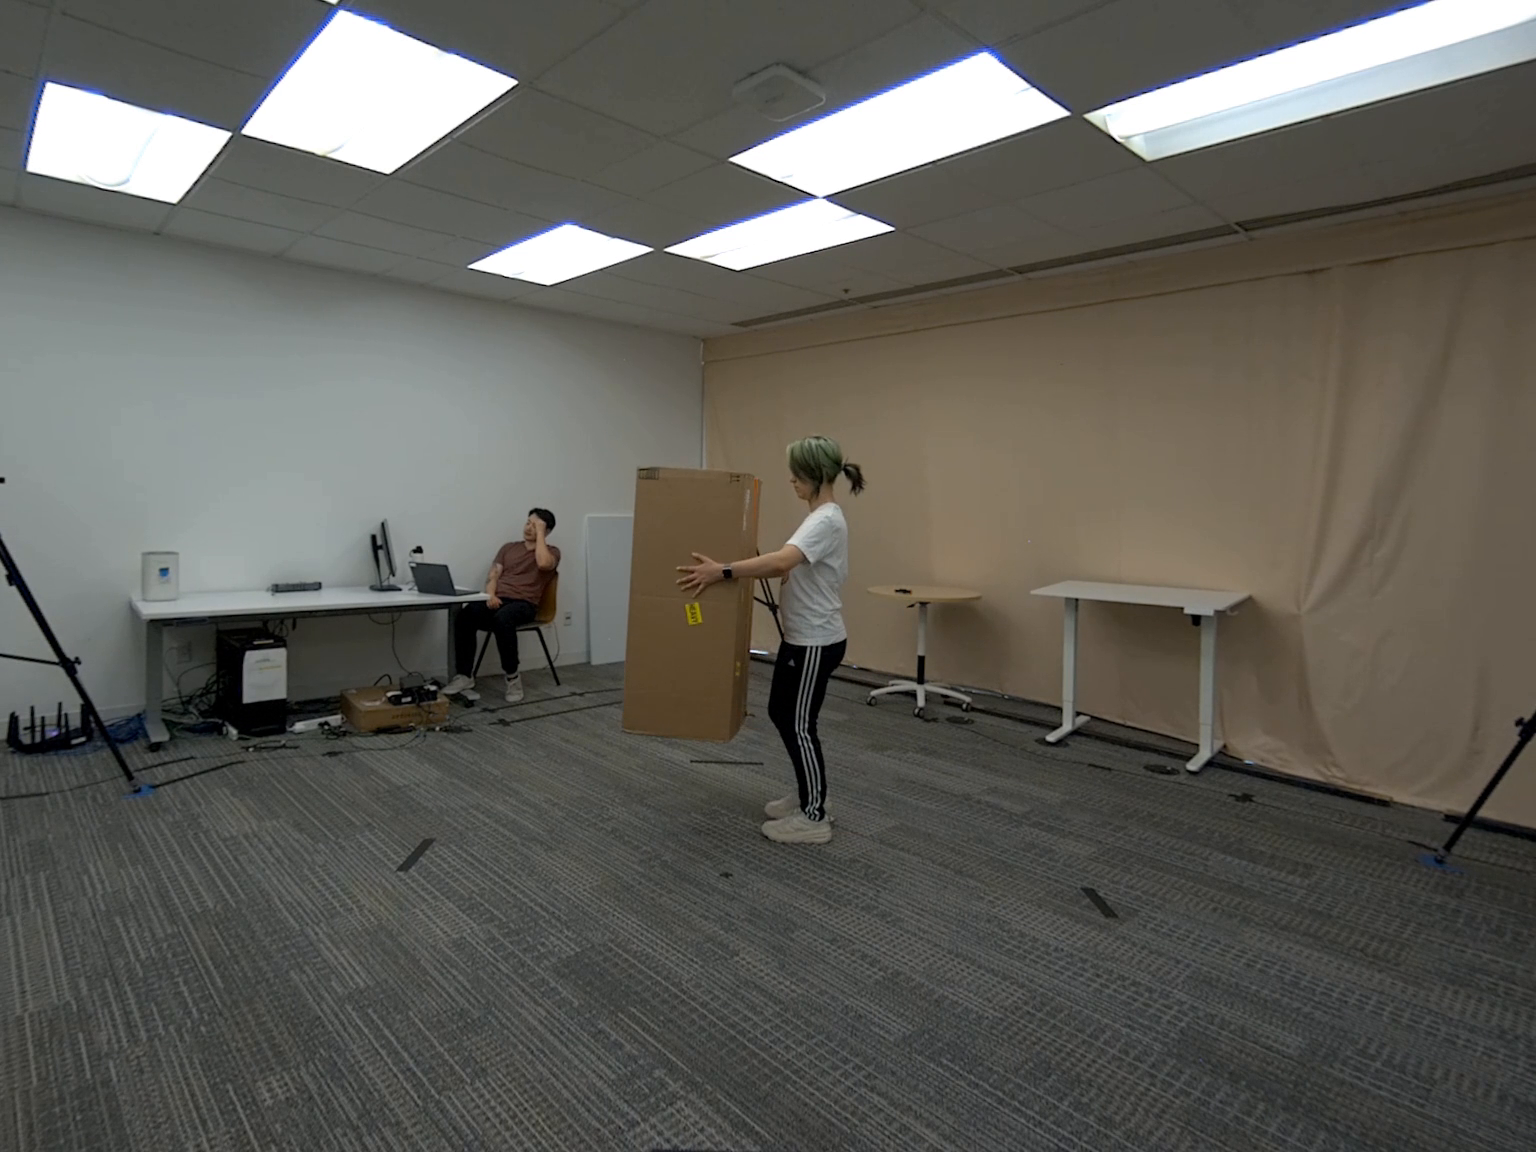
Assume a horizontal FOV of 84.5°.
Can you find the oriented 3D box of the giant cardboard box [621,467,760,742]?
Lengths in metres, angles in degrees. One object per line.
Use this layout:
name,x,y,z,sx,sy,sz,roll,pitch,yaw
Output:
giant cardboard box,-0.301,0.093,3.458,0.429,1.025,0.574,4,2,7
